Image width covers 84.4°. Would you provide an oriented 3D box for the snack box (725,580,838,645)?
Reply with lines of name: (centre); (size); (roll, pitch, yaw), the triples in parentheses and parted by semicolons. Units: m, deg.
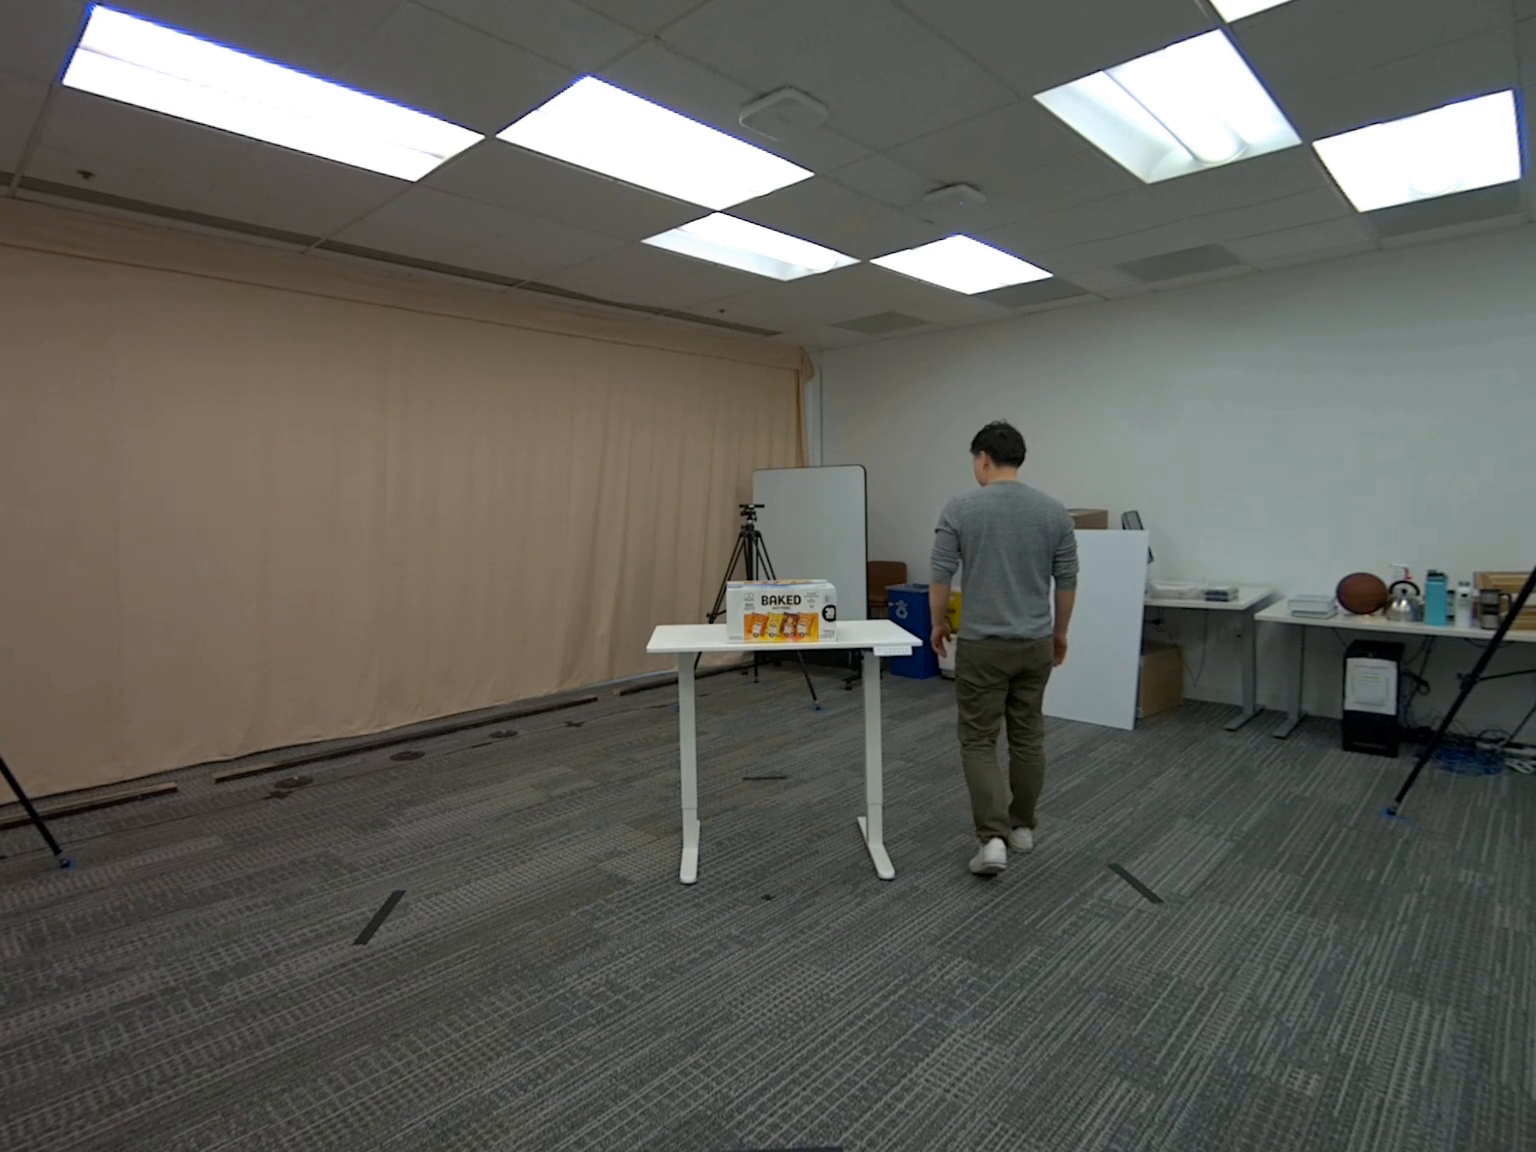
snack box: (0.048, 0.133, 3.273); (0.405, 0.205, 0.341); (-1, 4, 0)
